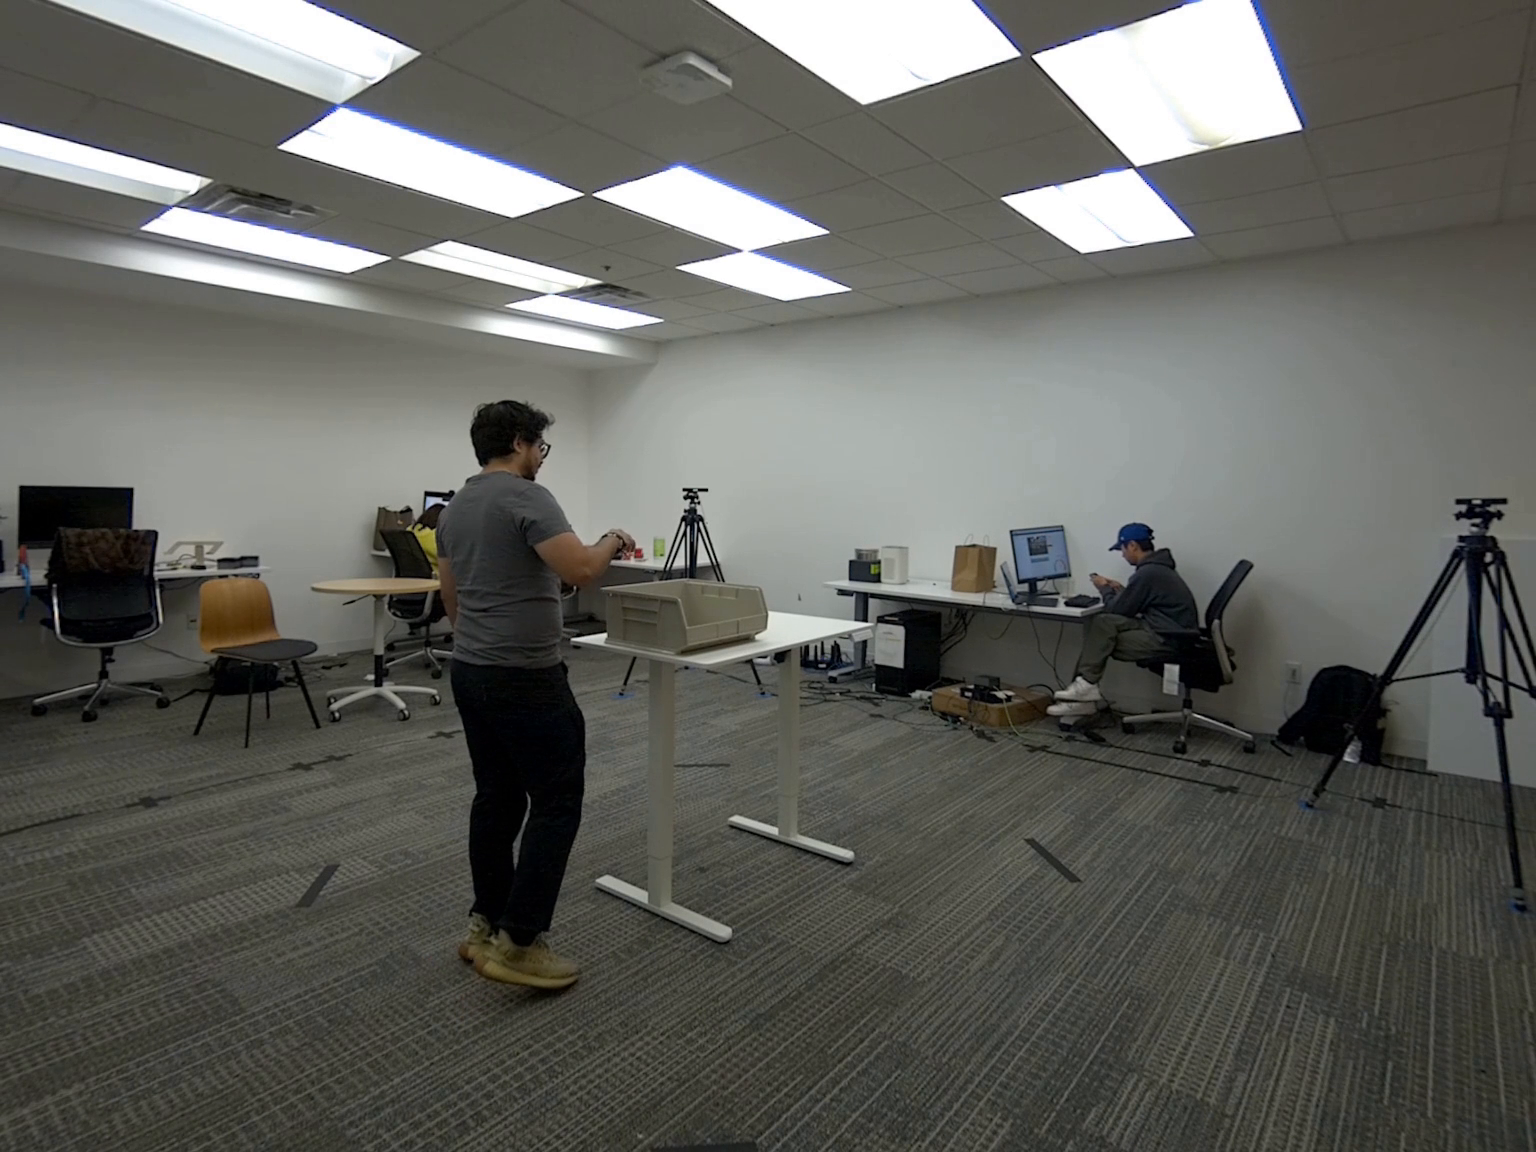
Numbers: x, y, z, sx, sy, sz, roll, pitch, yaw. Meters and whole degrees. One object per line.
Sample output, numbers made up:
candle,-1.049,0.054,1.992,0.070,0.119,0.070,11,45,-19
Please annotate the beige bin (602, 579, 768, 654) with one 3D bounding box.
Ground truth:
beige bin,-0.280,0.127,2.815,0.390,0.188,0.410,3,6,38
